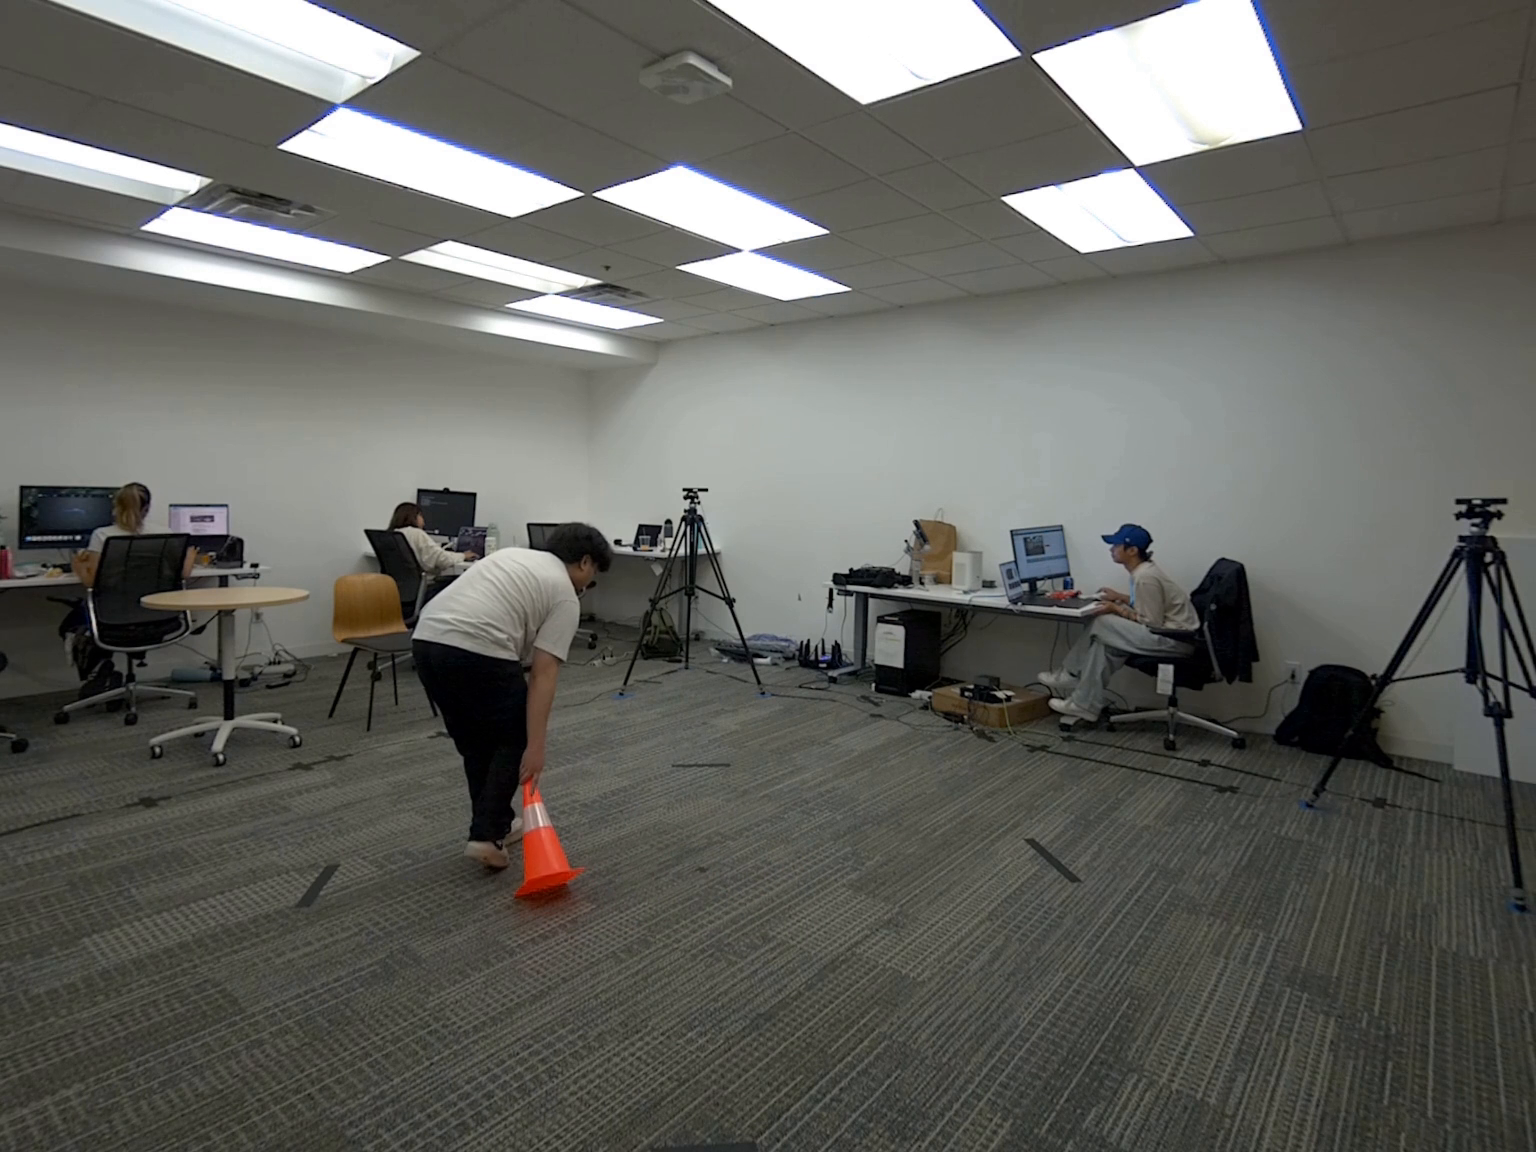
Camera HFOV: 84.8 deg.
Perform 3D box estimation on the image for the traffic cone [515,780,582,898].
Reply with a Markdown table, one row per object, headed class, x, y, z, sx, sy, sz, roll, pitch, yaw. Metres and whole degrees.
| class | x | y | z | sx | sy | sz | roll | pitch | yaw |
| --- | --- | --- | --- | --- | --- | --- | --- | --- | --- |
| traffic cone | -0.812 | 0.869 | 2.951 | 0.199 | 0.396 | 0.203 | 1 | -34 | -33 |
